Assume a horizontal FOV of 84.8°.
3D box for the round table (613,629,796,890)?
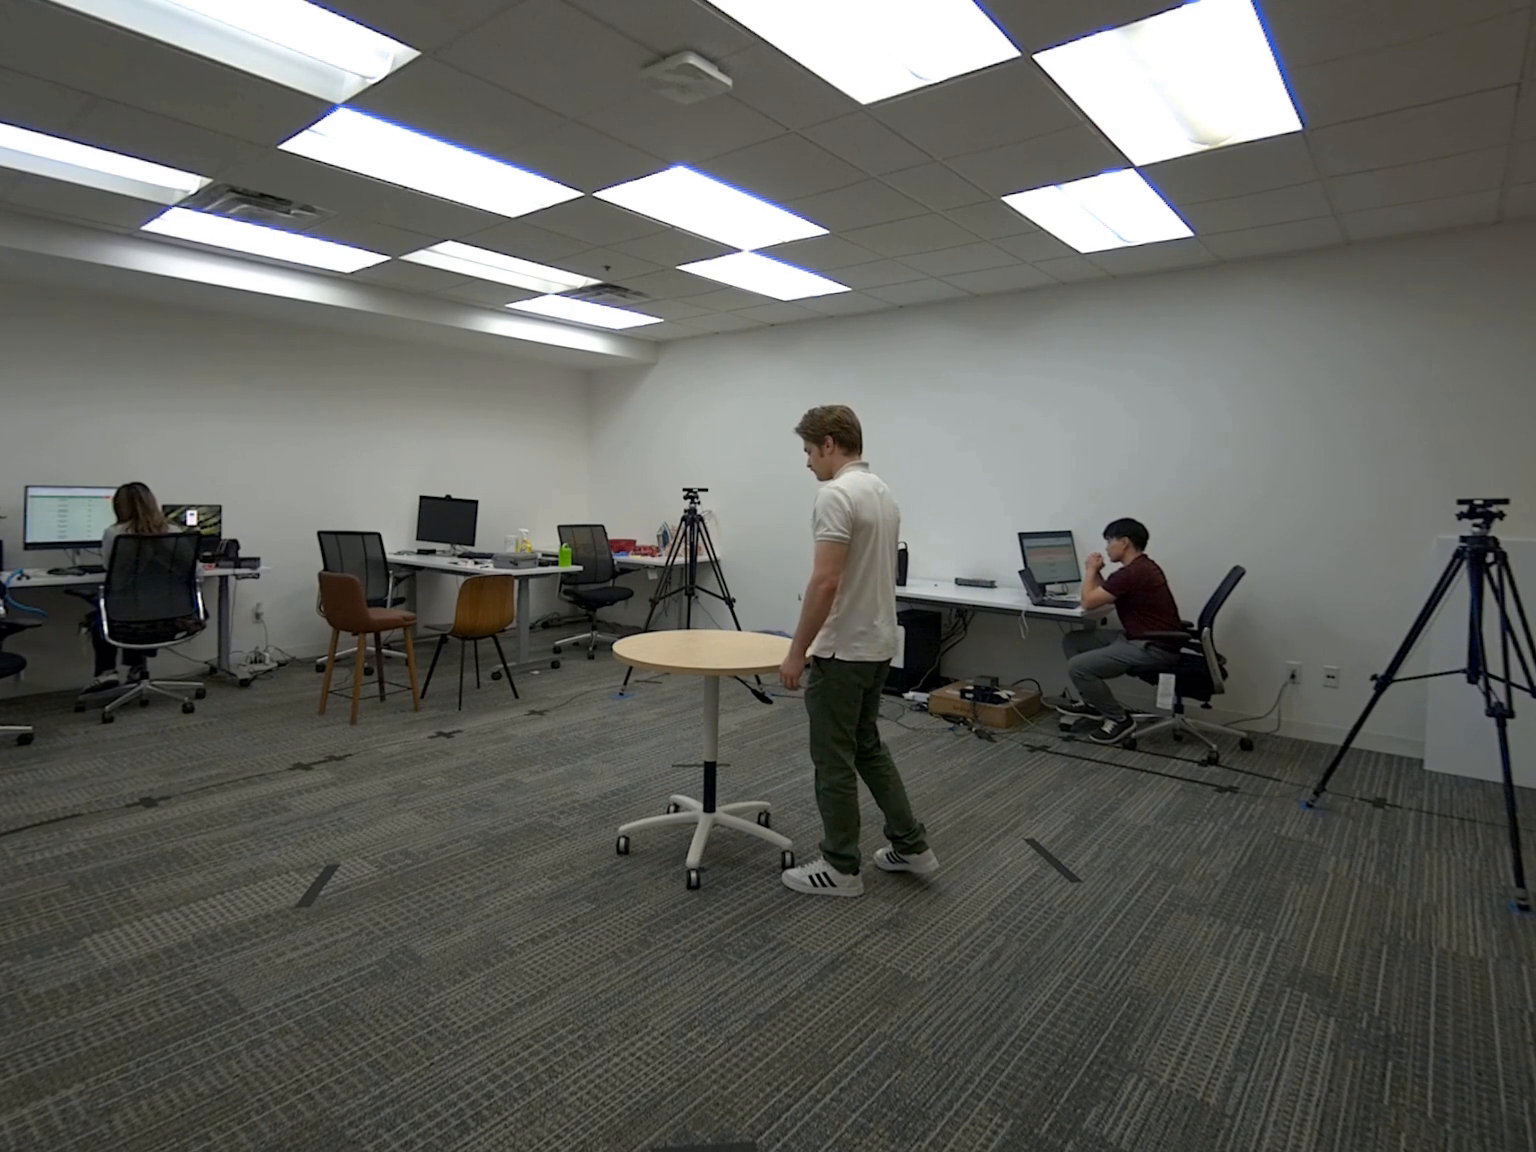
[{"bbox_3d":[-0.239,0.656,3.302,0.784,0.784,0.789,1,4,-2],"label":"round table"}]
